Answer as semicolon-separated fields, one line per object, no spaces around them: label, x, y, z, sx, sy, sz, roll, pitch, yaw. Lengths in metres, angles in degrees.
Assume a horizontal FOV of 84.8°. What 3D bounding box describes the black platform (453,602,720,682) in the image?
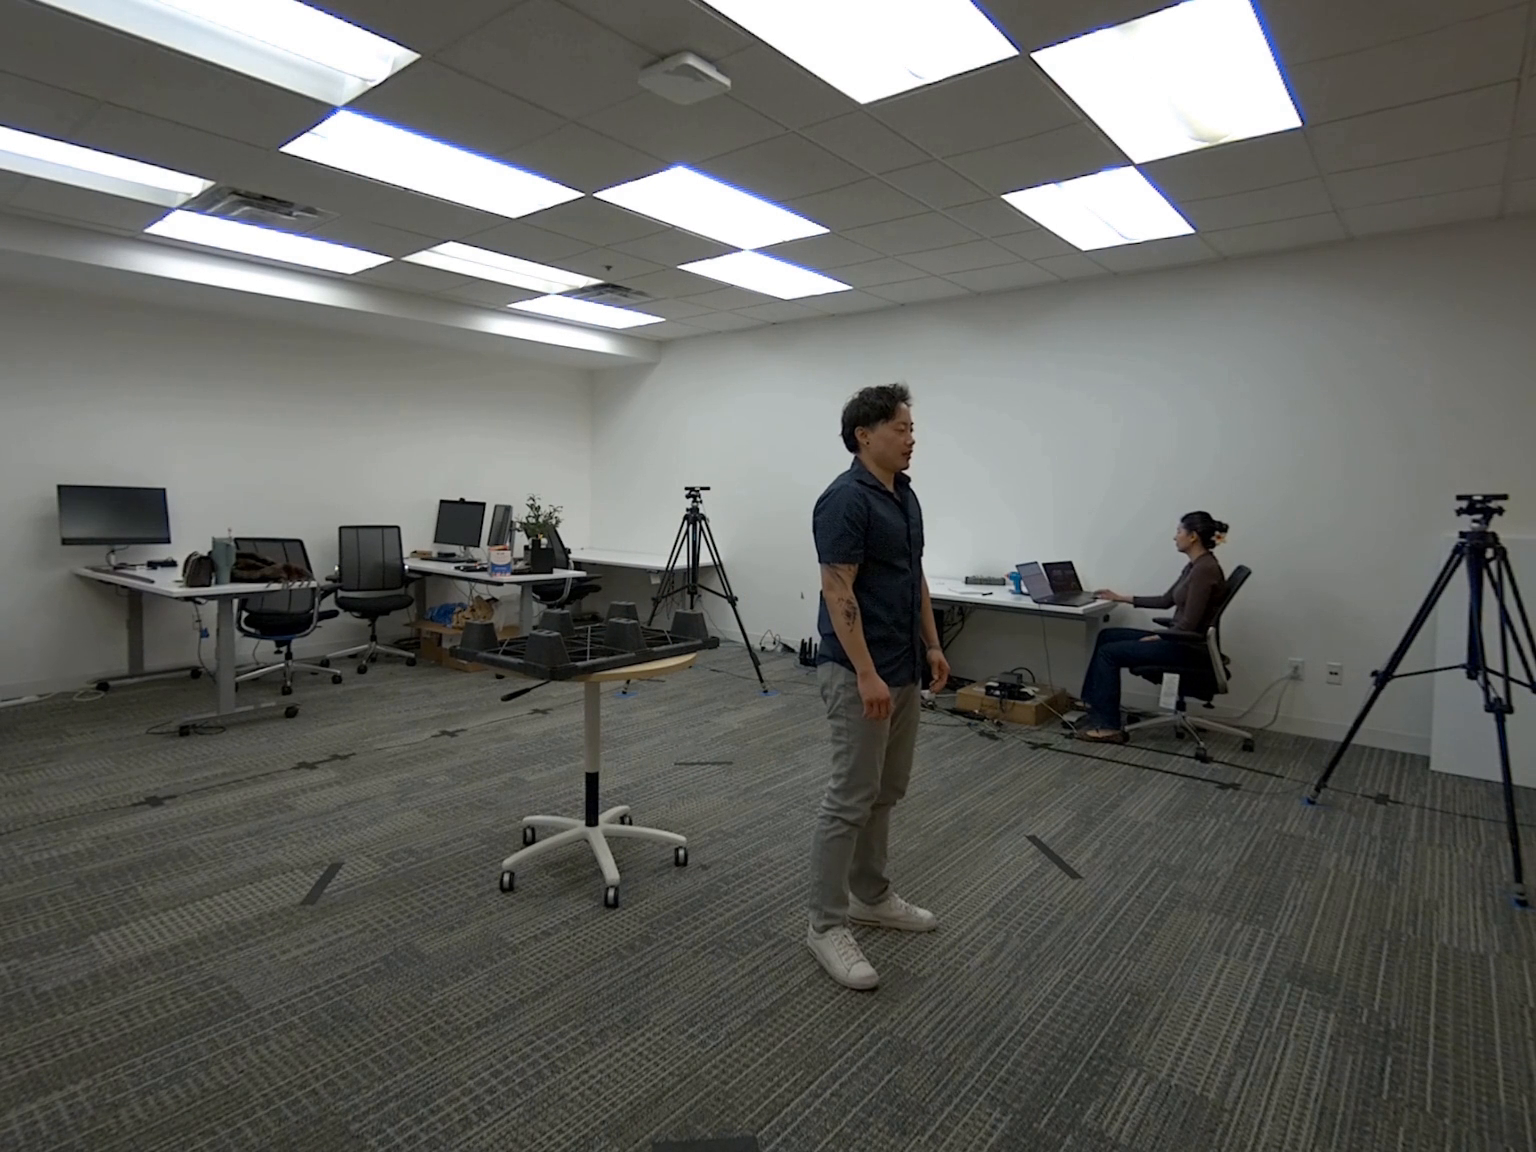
black platform;-0.668;0.212;3.113;0.625;0.143;0.782;5;7;39
